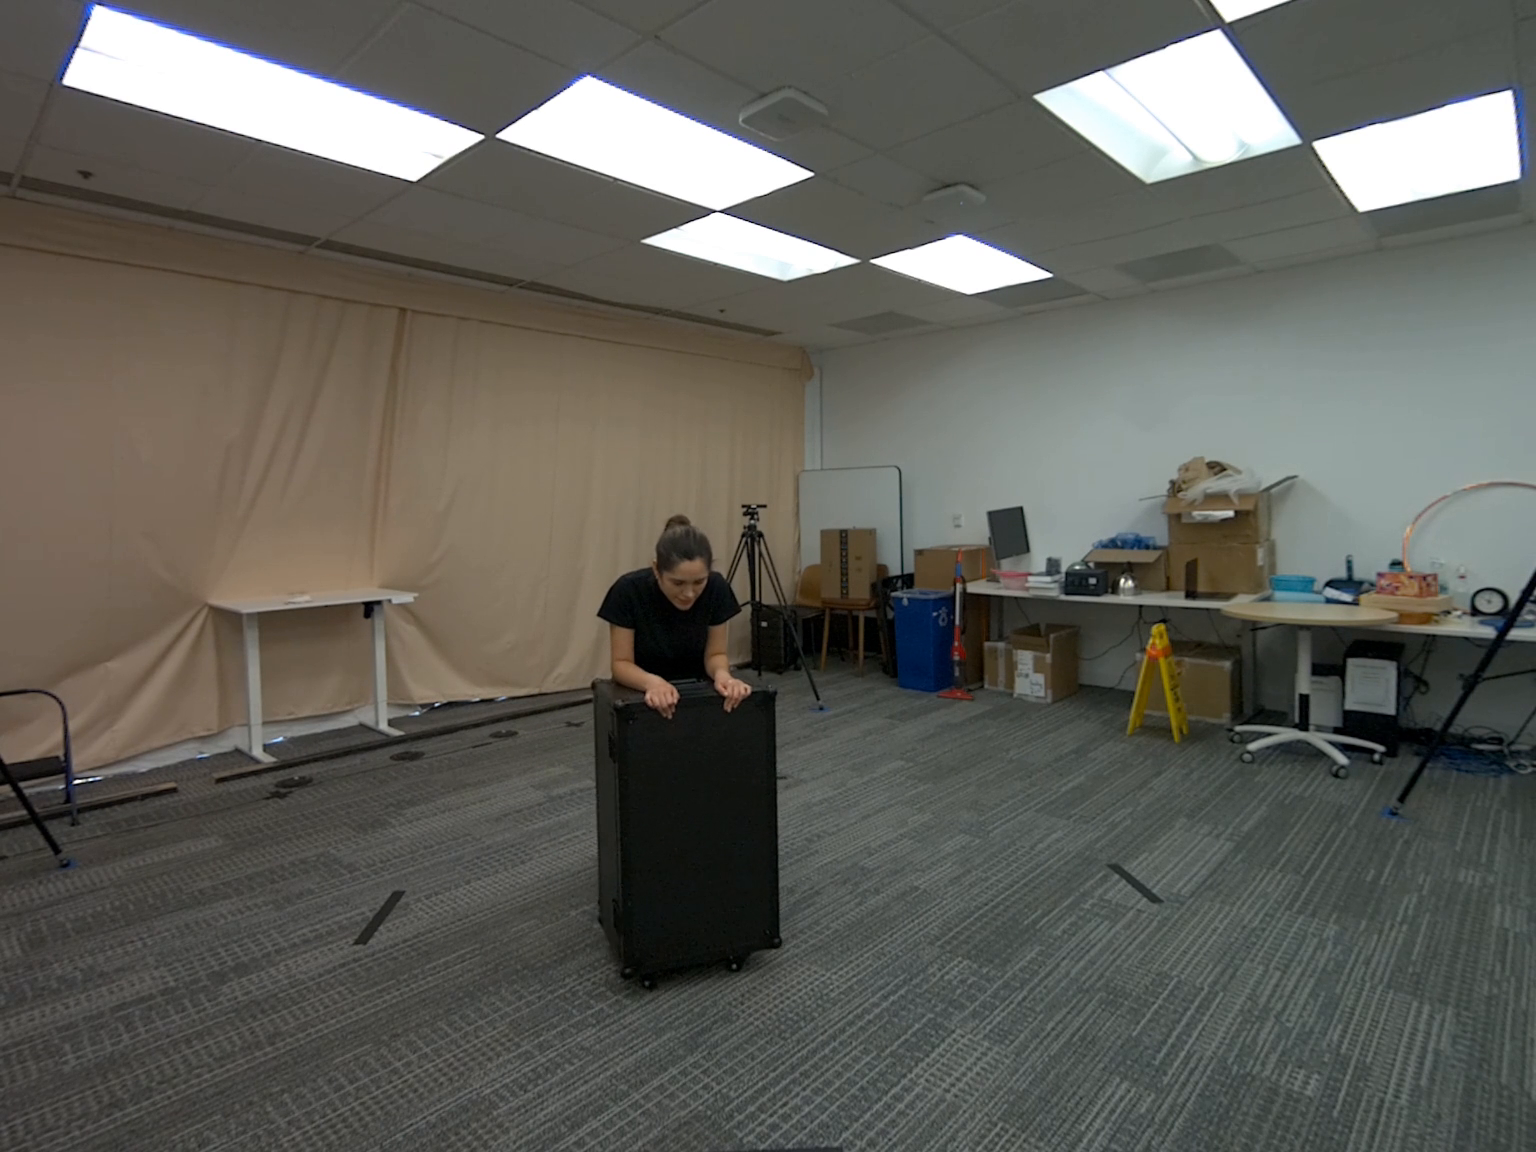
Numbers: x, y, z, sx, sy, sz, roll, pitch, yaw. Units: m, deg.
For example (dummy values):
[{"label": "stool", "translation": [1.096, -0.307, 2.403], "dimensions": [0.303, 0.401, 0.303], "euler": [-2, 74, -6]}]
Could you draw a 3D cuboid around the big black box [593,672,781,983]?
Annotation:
[{"label": "big black box", "translation": [-0.239, 0.692, 2.590], "dimensions": [0.511, 0.859, 0.405], "euler": [-3, 4, -21]}]
